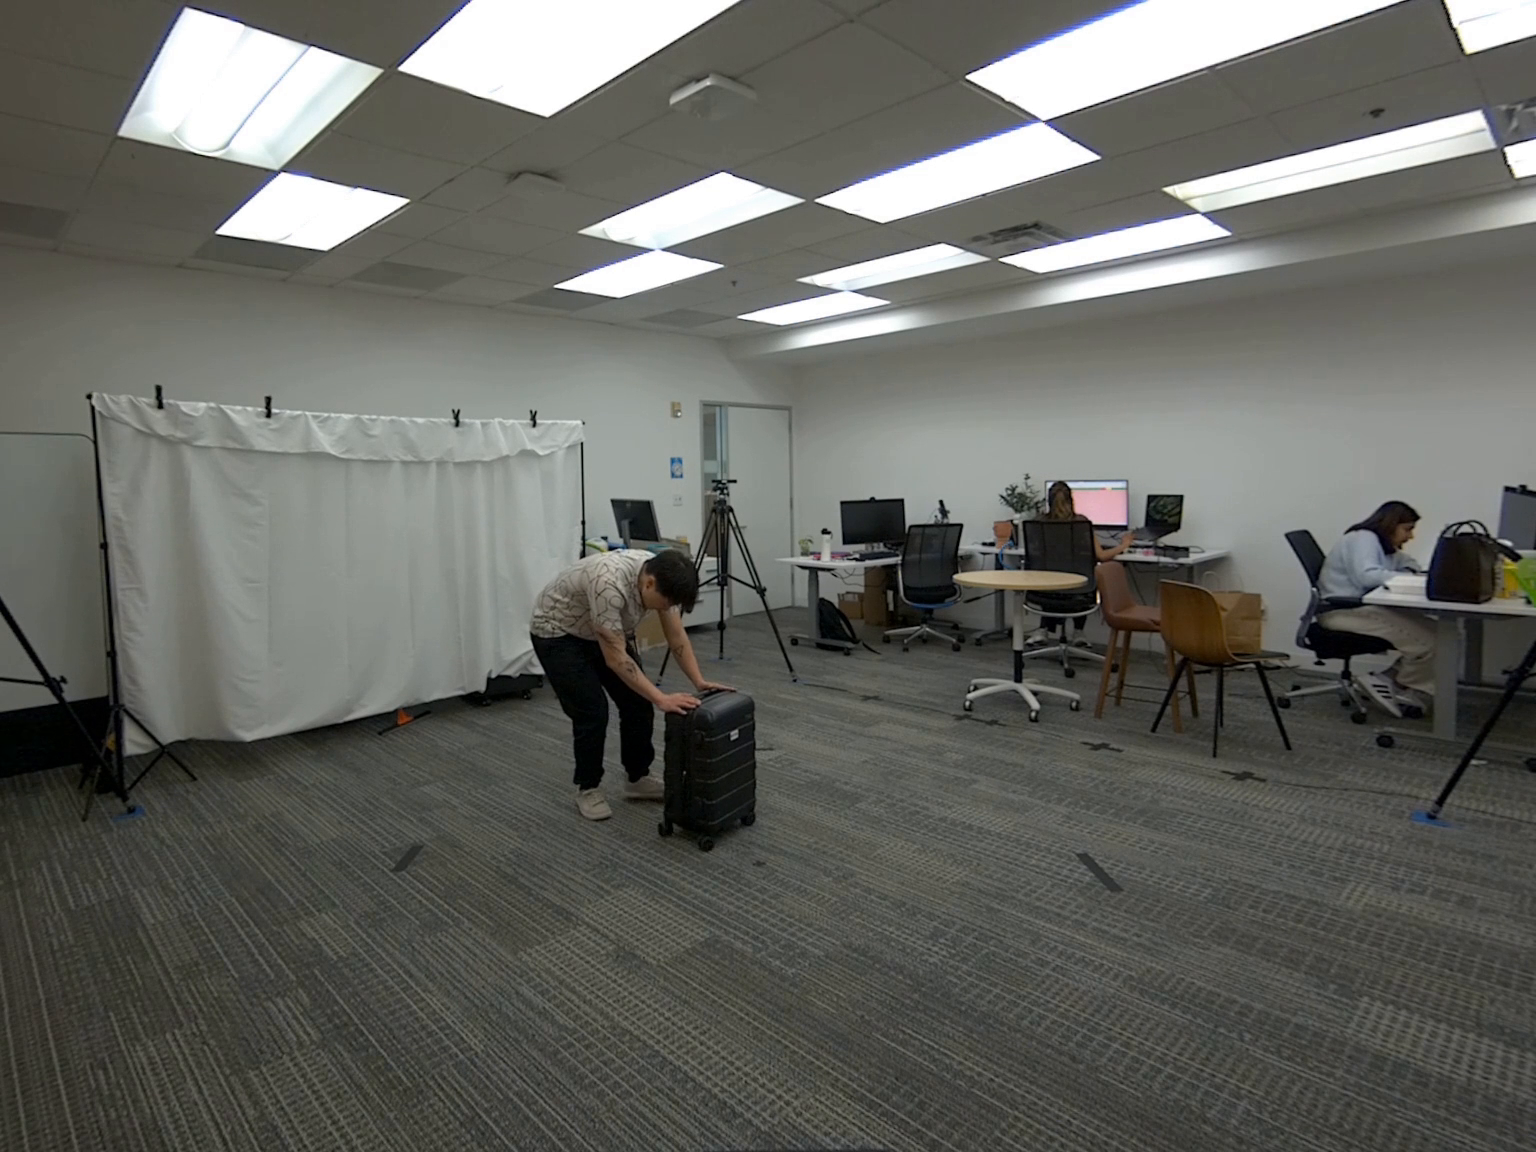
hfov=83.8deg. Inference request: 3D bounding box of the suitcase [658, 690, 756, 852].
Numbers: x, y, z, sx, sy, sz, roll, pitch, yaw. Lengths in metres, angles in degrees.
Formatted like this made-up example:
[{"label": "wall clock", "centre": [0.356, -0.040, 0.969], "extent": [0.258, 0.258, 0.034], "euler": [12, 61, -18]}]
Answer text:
[{"label": "suitcase", "centre": [-0.224, 0.743, 3.404], "extent": [0.255, 0.547, 0.366], "euler": [3, 6, 32]}]
